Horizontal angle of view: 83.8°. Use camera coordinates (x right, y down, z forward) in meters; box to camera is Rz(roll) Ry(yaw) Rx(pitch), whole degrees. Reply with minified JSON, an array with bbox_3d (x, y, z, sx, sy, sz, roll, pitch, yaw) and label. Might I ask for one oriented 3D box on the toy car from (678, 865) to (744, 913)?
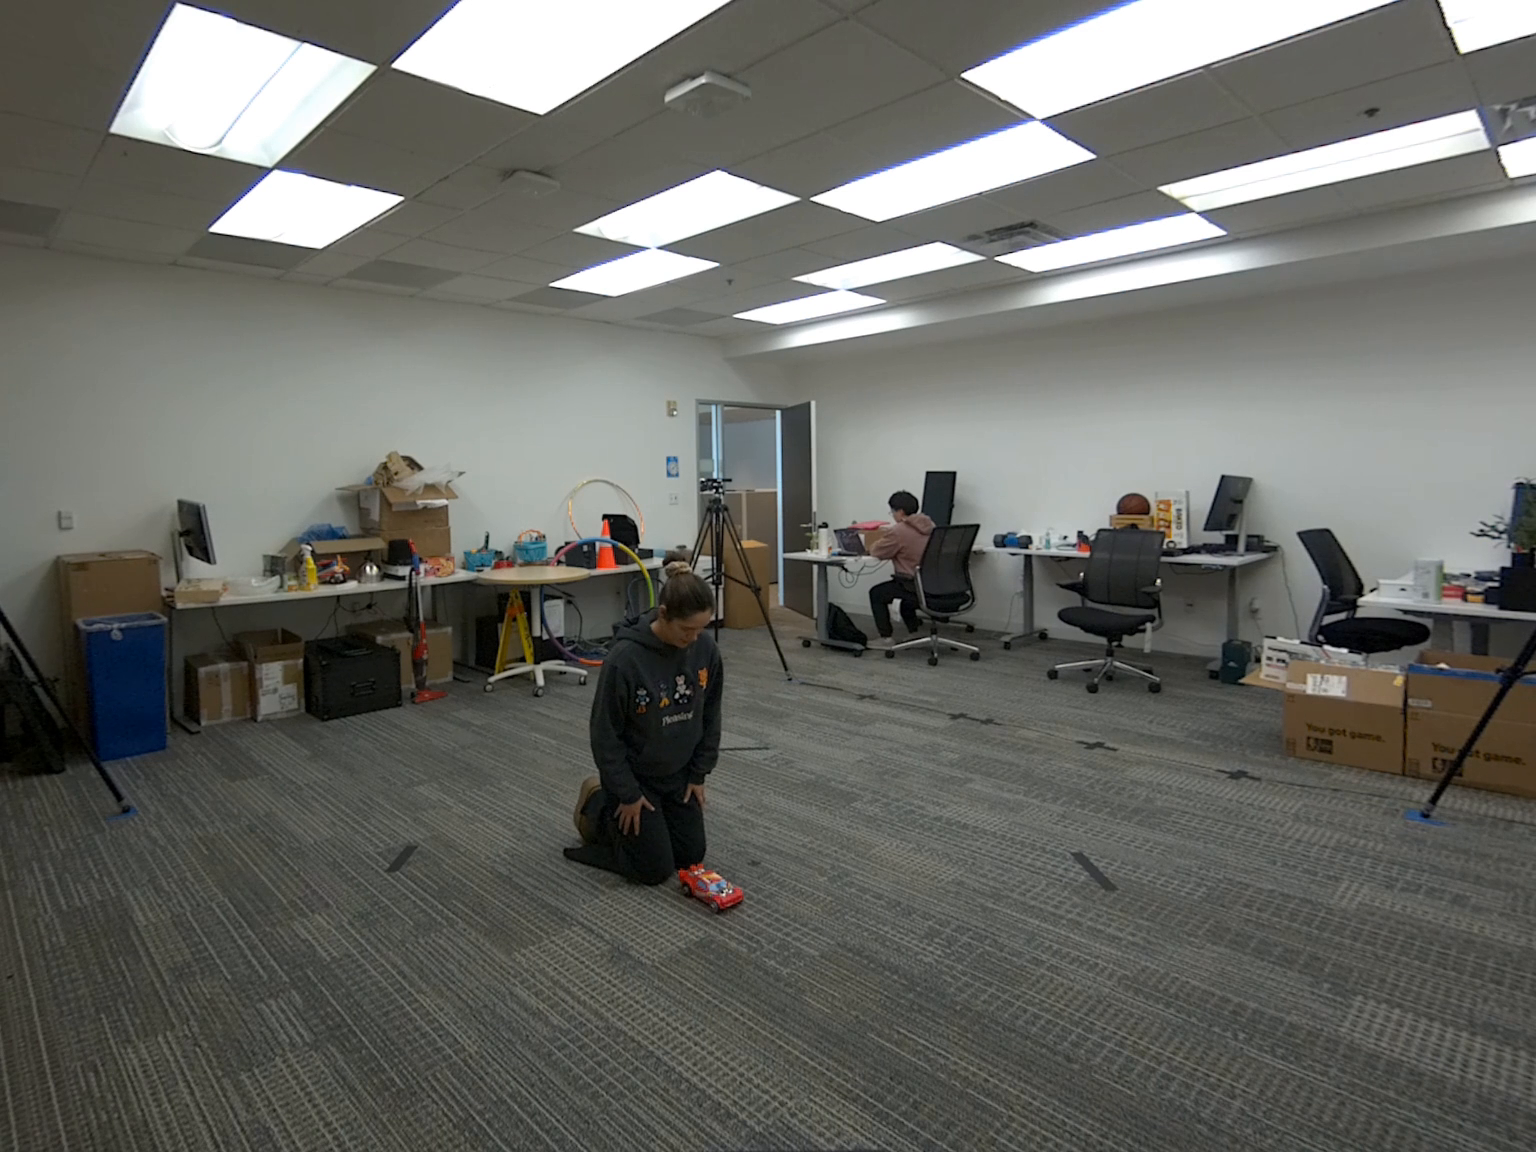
[{"bbox_3d":[-0.199,1.048,2.847,0.127,0.082,0.264,-7,19,-40],"label":"toy car"}]
